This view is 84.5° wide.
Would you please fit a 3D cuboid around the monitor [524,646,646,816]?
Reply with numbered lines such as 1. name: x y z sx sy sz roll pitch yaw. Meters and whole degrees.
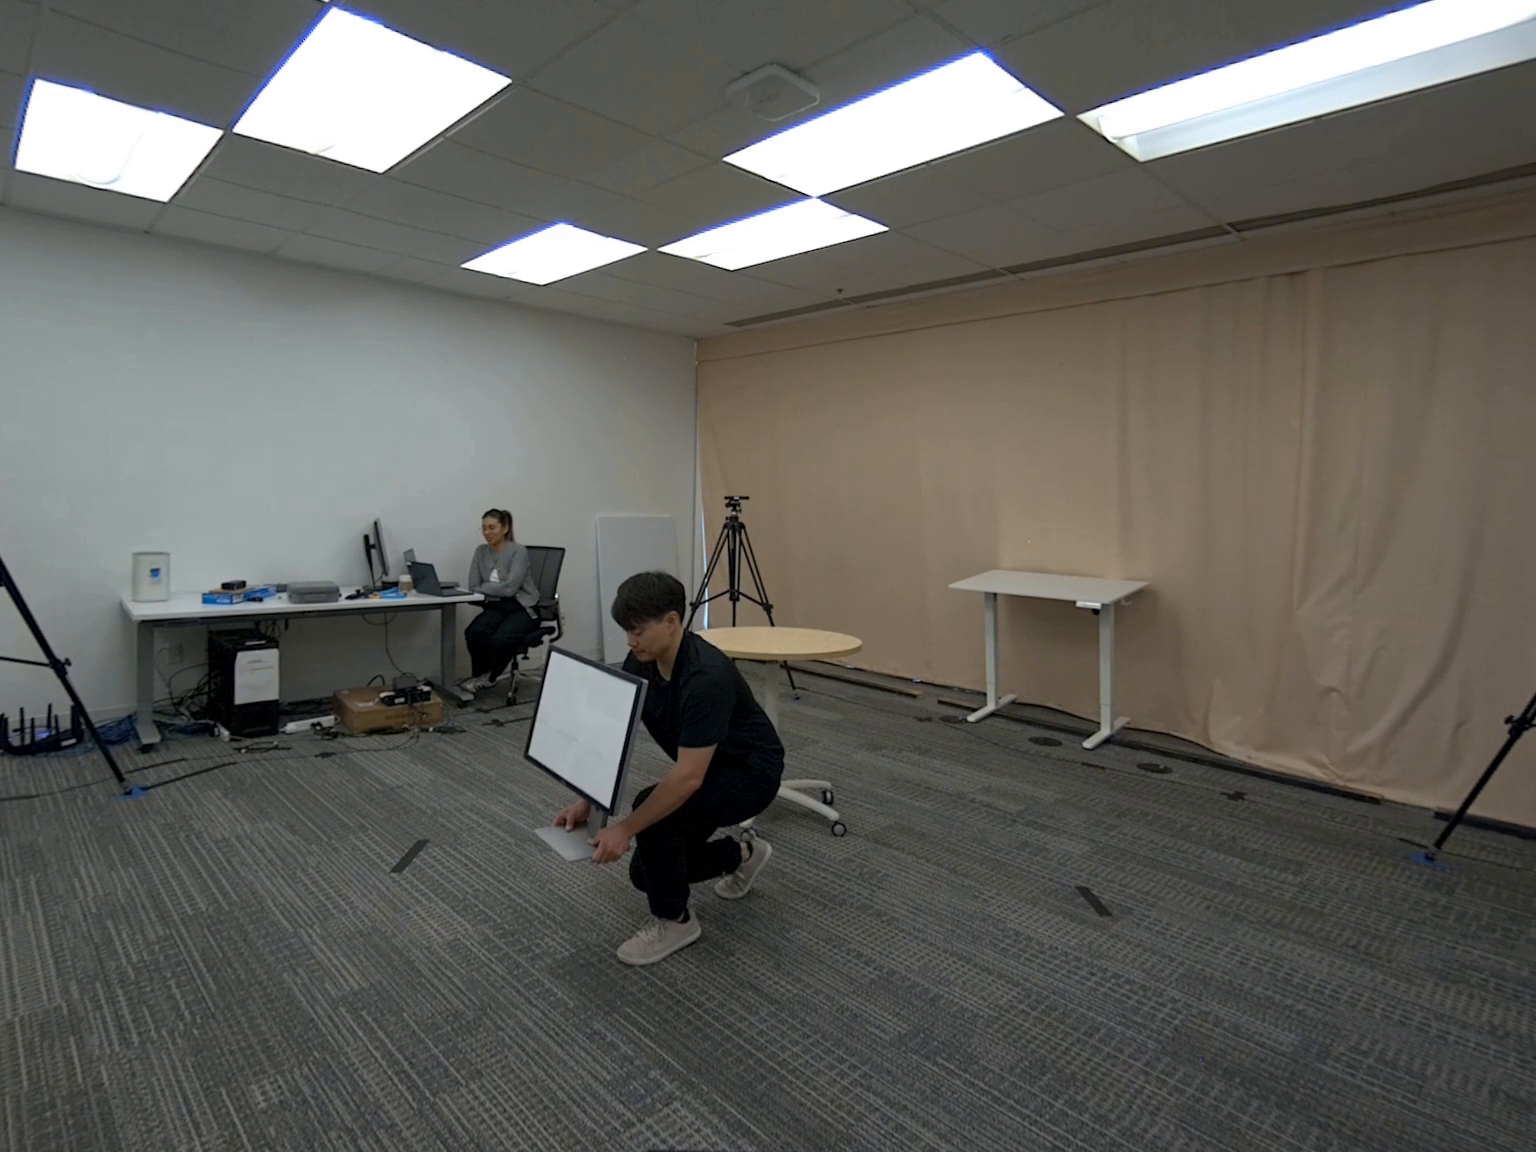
1. monitor: -0.526 0.517 2.457 0.183 0.521 0.553 1 5 -41
